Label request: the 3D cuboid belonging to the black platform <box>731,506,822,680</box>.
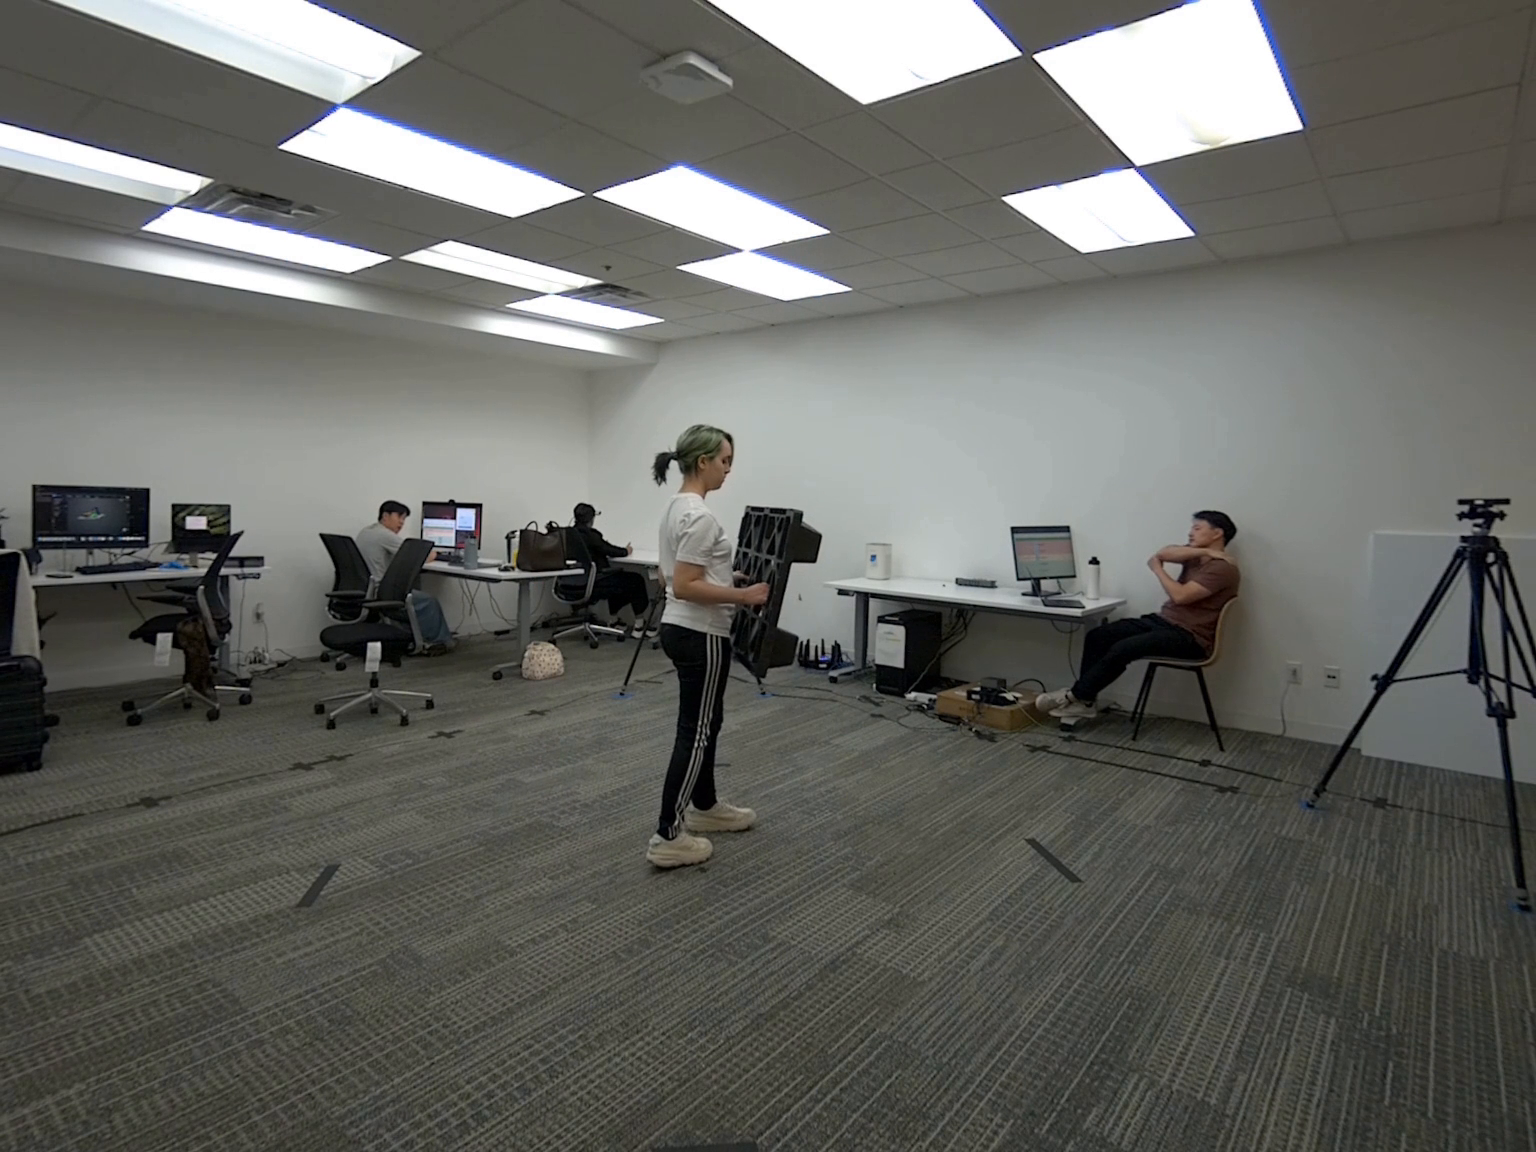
[{"bbox_3d":[-0.017,0.041,3.324,0.141,0.604,0.819,11,2,-15],"label":"black platform"}]
